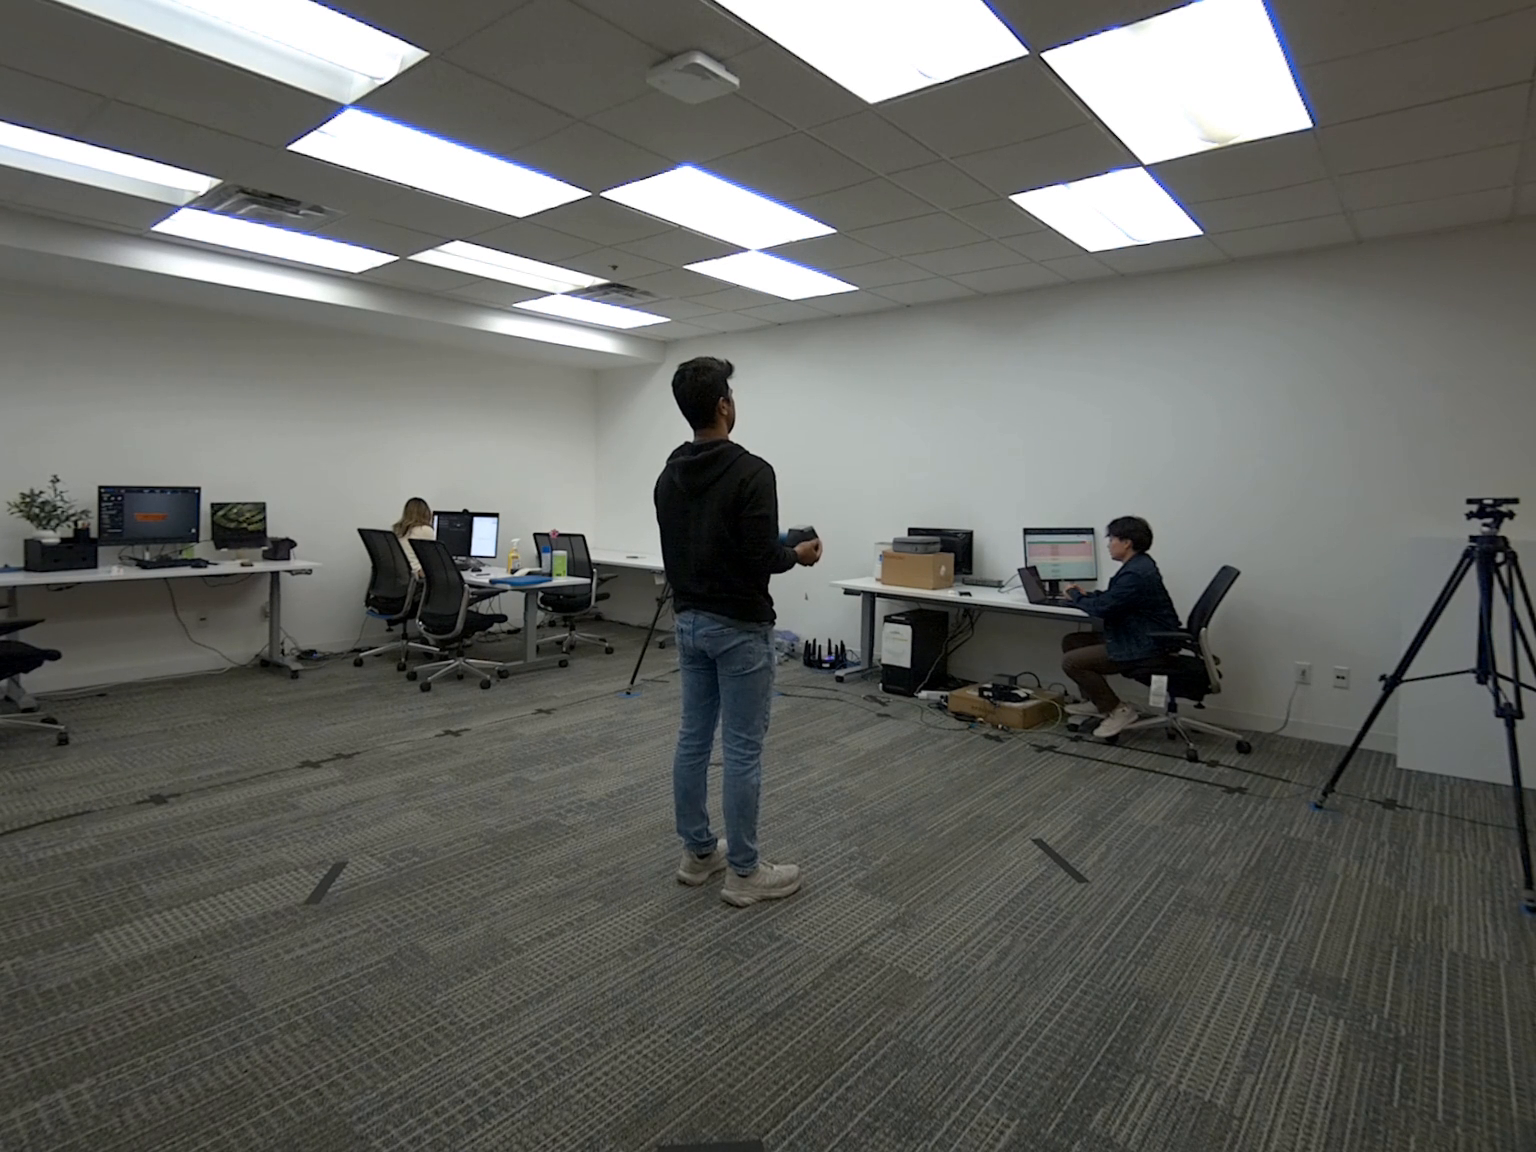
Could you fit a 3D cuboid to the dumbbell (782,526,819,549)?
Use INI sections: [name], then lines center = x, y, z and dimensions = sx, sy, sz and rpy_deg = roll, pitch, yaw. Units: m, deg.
[dumbbell]
center = 0.029, -0.136, 3.139
dimensions = 0.303, 0.118, 0.109
rpy_deg = 5, 48, 44
